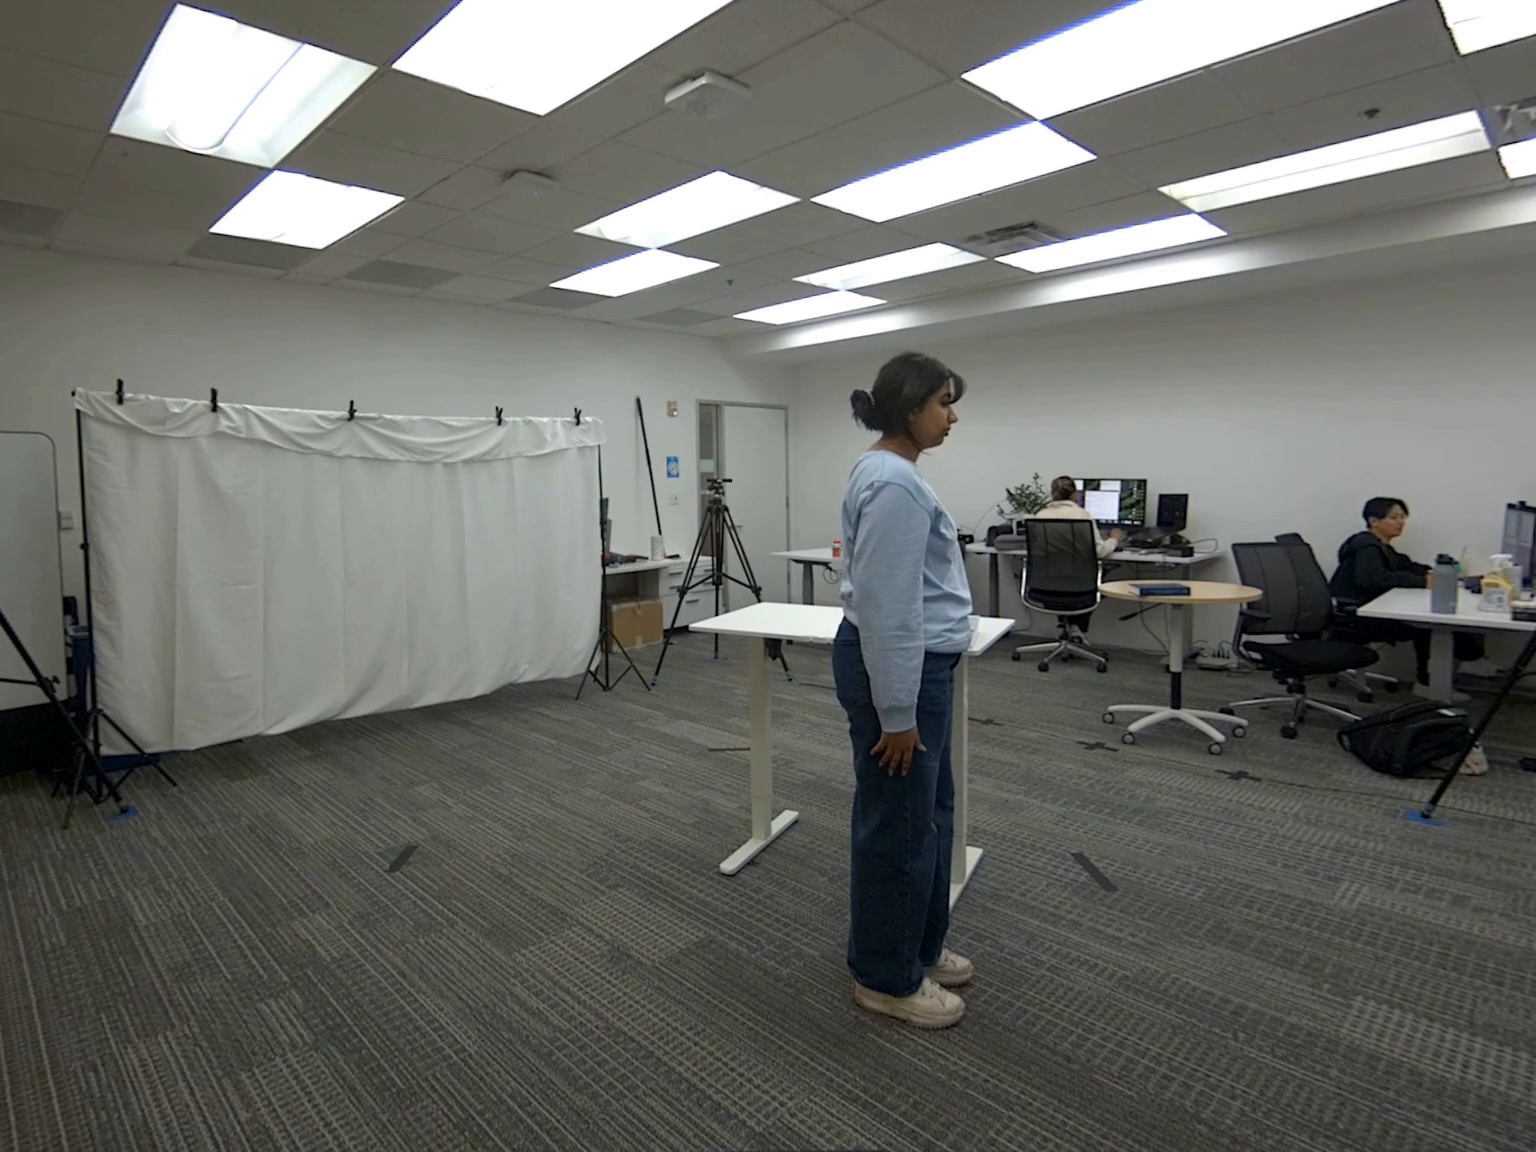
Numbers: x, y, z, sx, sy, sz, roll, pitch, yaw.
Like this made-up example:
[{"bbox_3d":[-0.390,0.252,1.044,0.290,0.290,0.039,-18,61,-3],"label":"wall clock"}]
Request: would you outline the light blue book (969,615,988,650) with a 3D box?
[{"bbox_3d":[0.585,0.171,2.705,0.195,0.059,0.257,1,7,19],"label":"light blue book"}]
